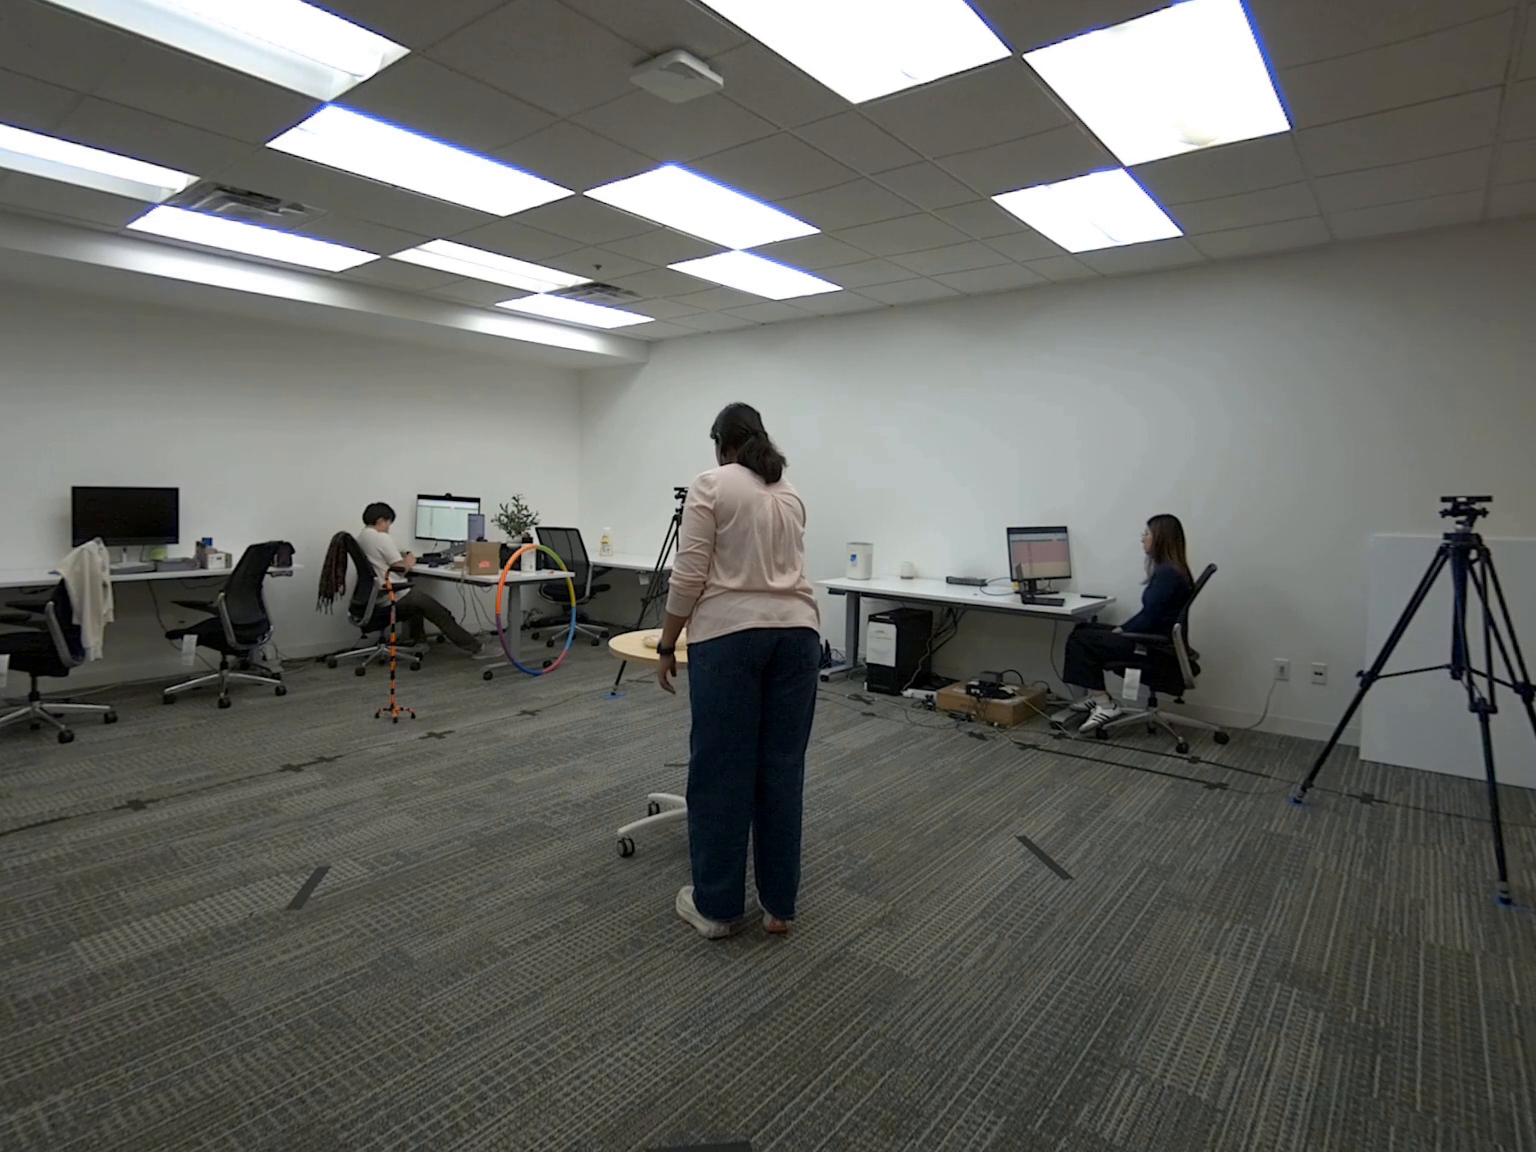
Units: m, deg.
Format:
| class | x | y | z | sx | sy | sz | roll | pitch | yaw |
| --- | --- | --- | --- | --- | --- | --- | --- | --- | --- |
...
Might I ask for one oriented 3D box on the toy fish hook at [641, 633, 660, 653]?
| class | x | y | z | sx | sy | sz | roll | pitch | yaw |
| --- | --- | --- | --- | --- | --- | --- | --- | --- | --- |
| toy fish hook | -0.232 | 0.243 | 3.297 | 0.500 | 0.048 | 0.229 | -1 | 7 | -13 |
